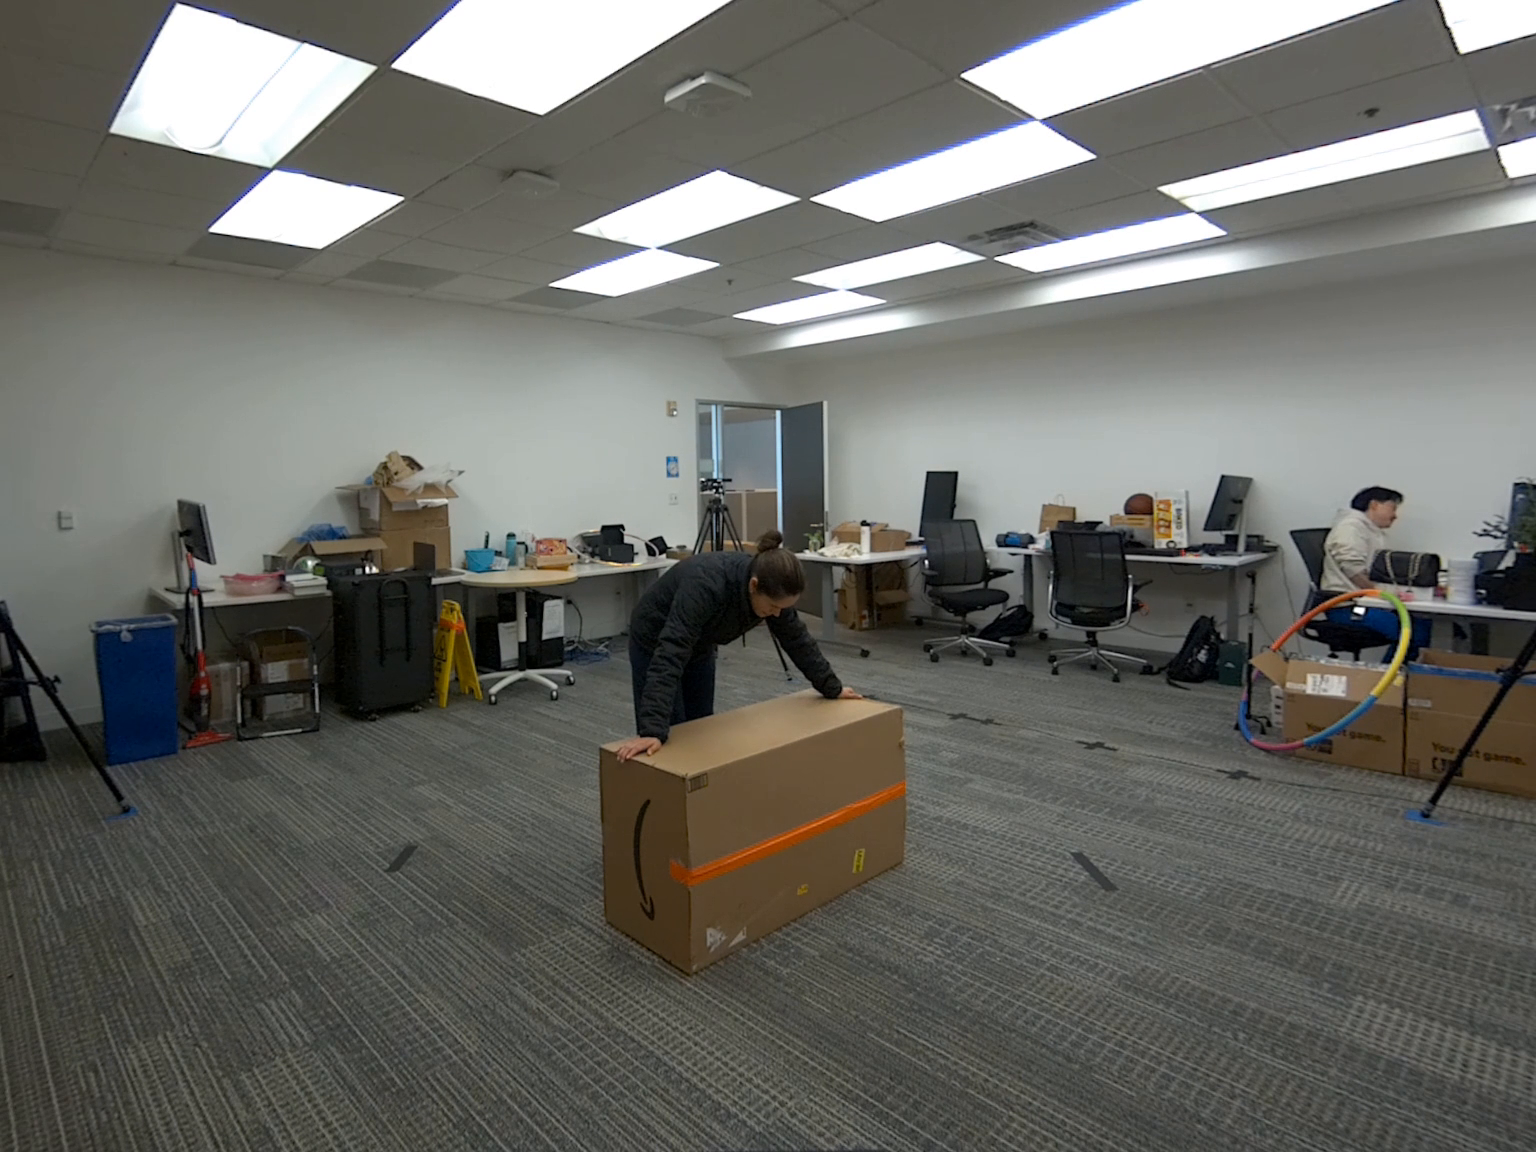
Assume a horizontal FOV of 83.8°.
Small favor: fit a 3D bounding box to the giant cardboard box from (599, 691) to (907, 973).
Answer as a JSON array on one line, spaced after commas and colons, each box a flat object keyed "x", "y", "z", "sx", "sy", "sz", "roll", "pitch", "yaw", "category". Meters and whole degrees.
[{"x": -0.014, "y": 0.783, "z": 2.893, "sx": 1.000, "sy": 0.582, "sz": 0.460, "roll": -7, "pitch": 6, "yaw": -44, "category": "giant cardboard box"}]
